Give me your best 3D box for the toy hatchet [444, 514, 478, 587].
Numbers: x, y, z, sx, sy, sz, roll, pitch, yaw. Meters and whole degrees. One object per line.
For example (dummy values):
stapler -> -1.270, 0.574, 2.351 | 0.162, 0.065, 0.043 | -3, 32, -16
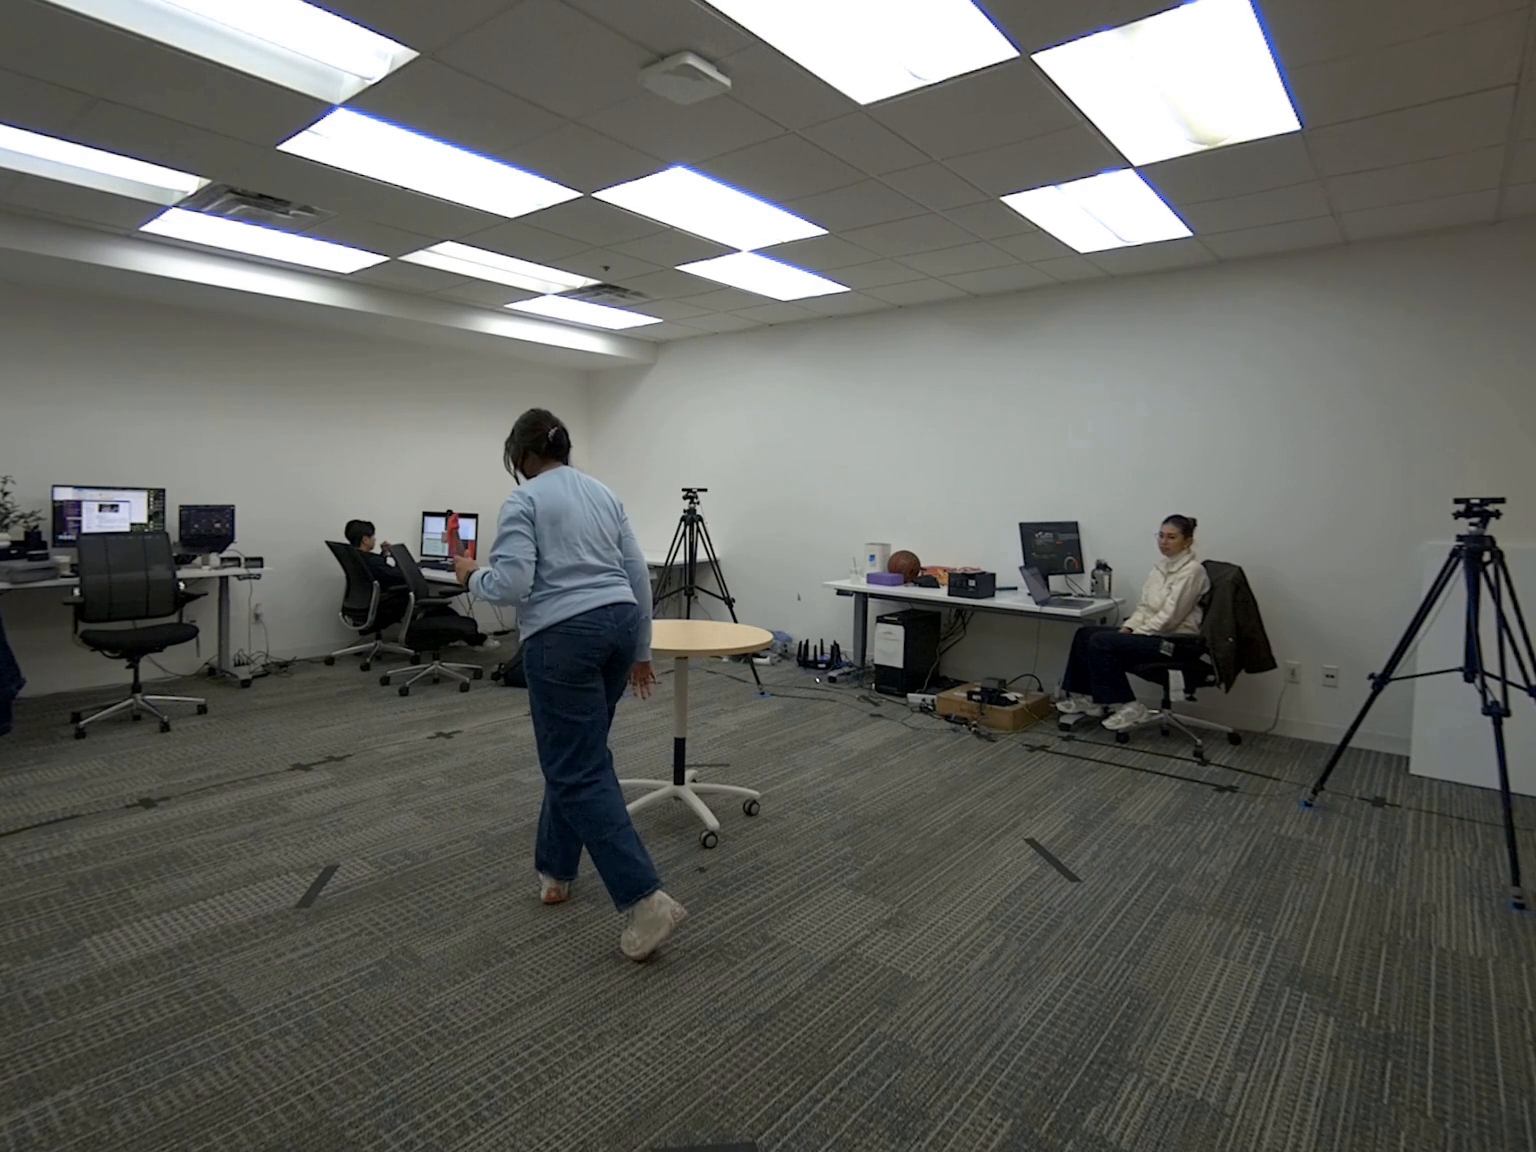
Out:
toy hatchet -> -1.058, -0.075, 2.874 | 0.029, 0.276, 0.132 | -1, -22, -42
